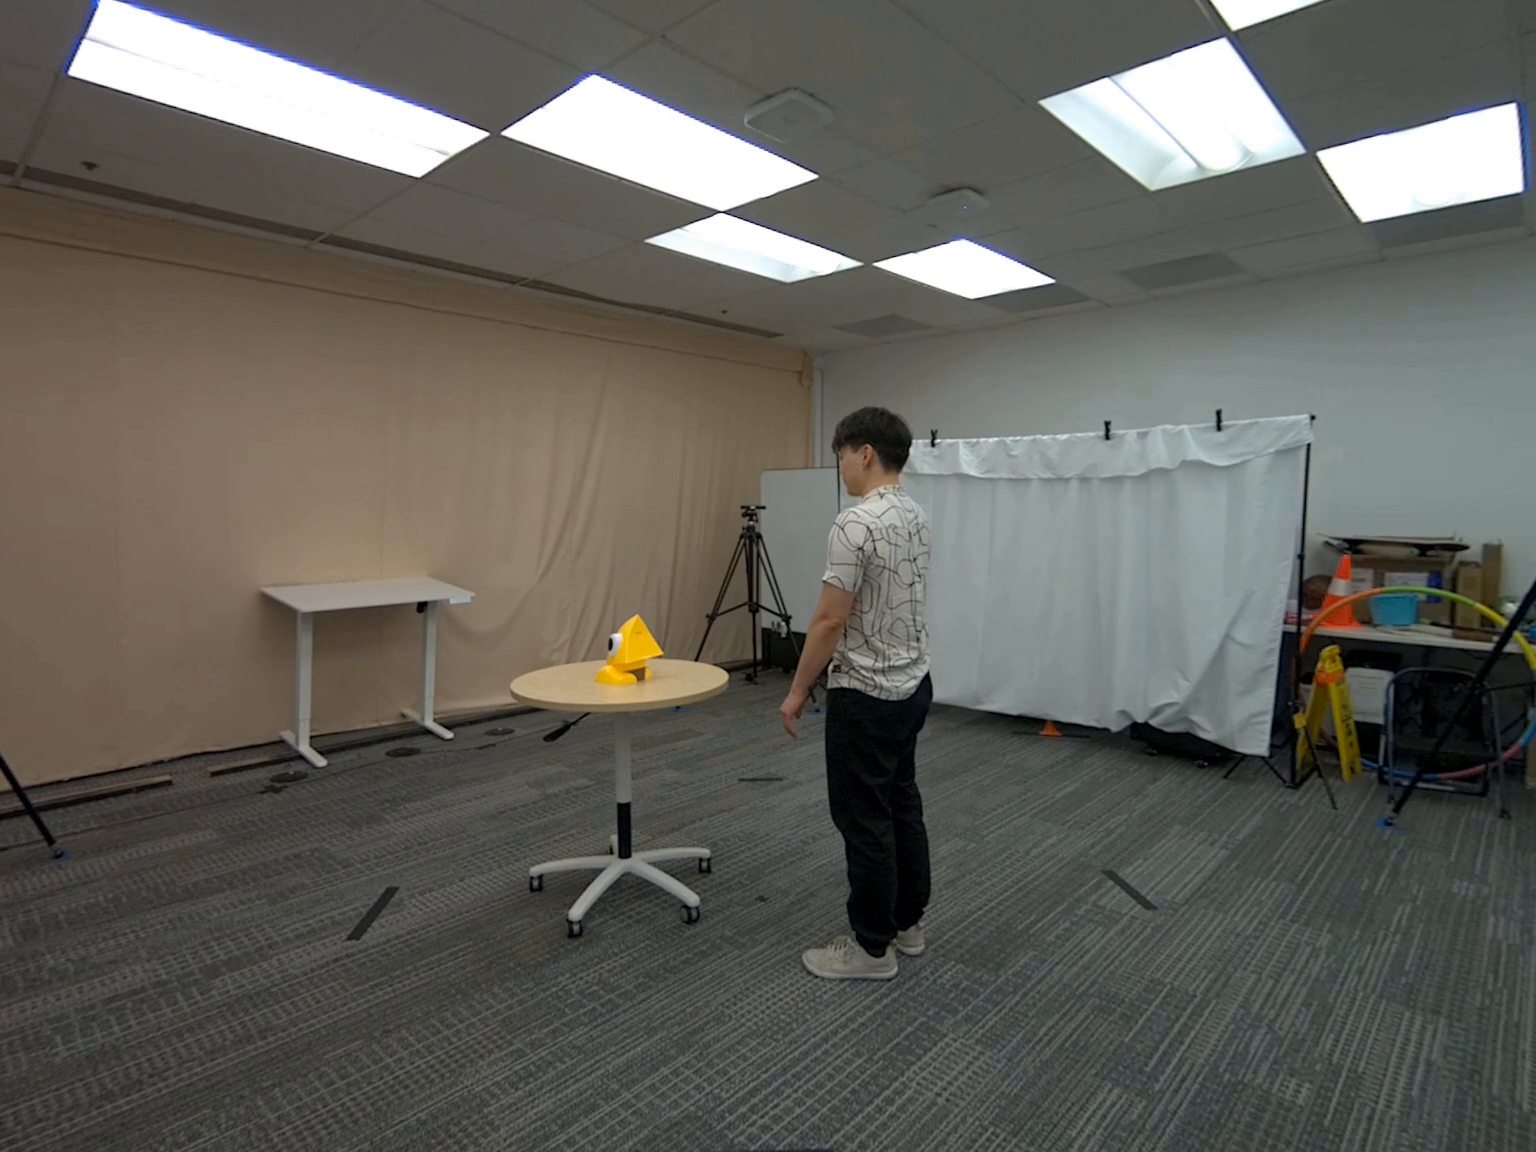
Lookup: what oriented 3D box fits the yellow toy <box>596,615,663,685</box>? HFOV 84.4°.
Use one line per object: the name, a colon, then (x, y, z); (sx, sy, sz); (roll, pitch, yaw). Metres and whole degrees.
yellow toy: (-0.505, 0.253, 2.975); (0.199, 0.230, 0.199); (1, 4, 31)
